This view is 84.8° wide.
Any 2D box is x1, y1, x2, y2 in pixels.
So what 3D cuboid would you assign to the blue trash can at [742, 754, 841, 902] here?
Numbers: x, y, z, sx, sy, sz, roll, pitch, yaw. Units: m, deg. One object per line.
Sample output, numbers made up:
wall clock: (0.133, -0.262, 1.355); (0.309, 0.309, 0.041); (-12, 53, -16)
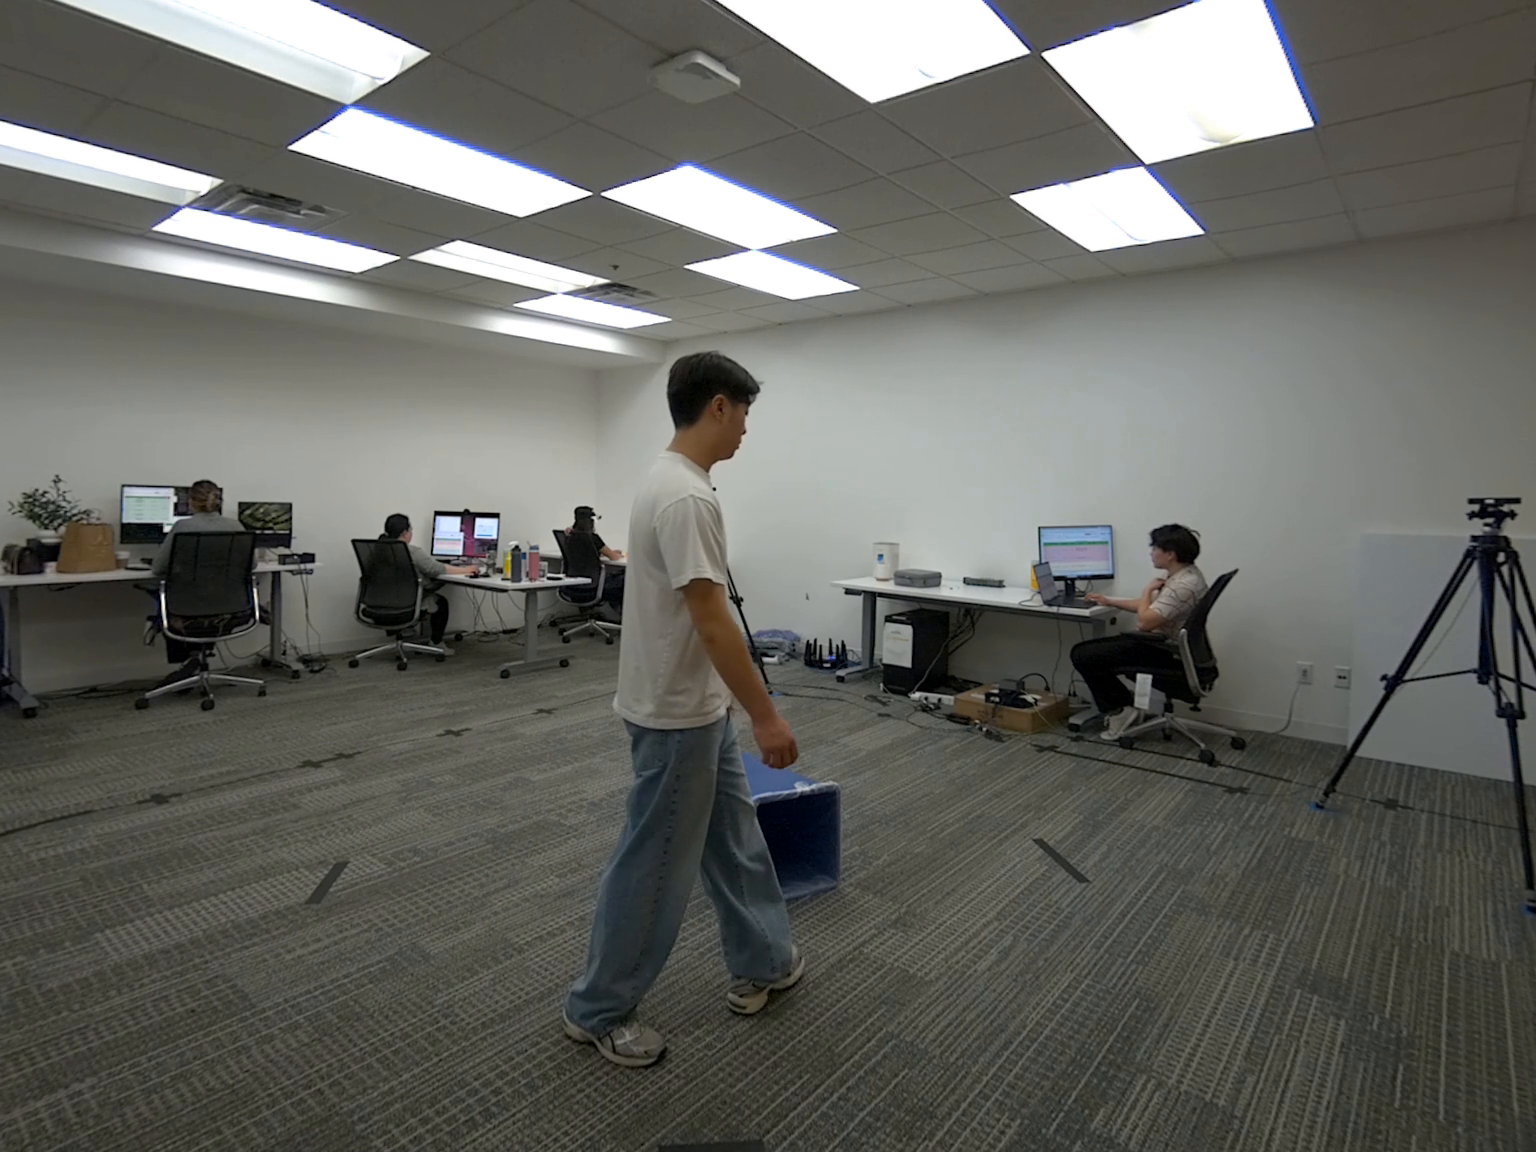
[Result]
blue trash can: (-0.090, 0.899, 3.202); (0.364, 0.378, 0.734); (-1, 2, -31)
